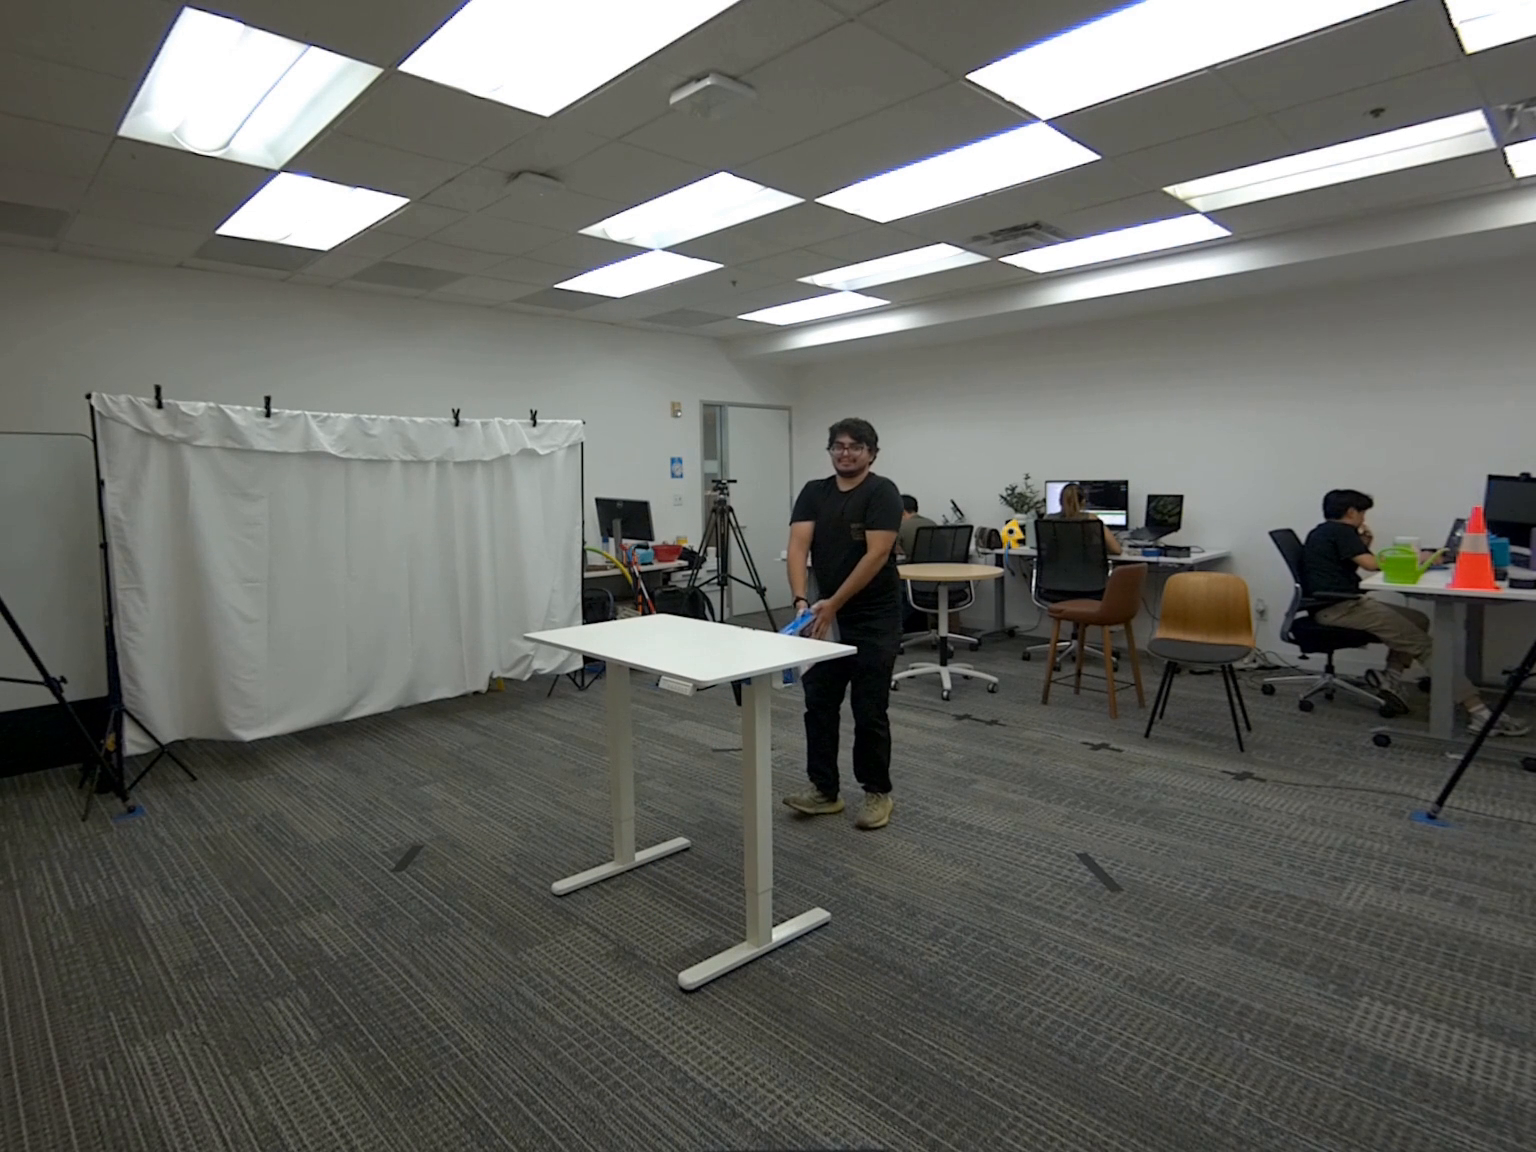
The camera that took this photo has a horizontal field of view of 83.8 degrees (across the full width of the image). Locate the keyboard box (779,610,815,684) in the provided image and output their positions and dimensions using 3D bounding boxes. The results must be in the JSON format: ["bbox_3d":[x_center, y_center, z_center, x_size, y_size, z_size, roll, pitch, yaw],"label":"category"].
[{"bbox_3d":[0.154,0.242,3.167,0.060,0.174,0.432,-5,14,29],"label":"keyboard box"}]
